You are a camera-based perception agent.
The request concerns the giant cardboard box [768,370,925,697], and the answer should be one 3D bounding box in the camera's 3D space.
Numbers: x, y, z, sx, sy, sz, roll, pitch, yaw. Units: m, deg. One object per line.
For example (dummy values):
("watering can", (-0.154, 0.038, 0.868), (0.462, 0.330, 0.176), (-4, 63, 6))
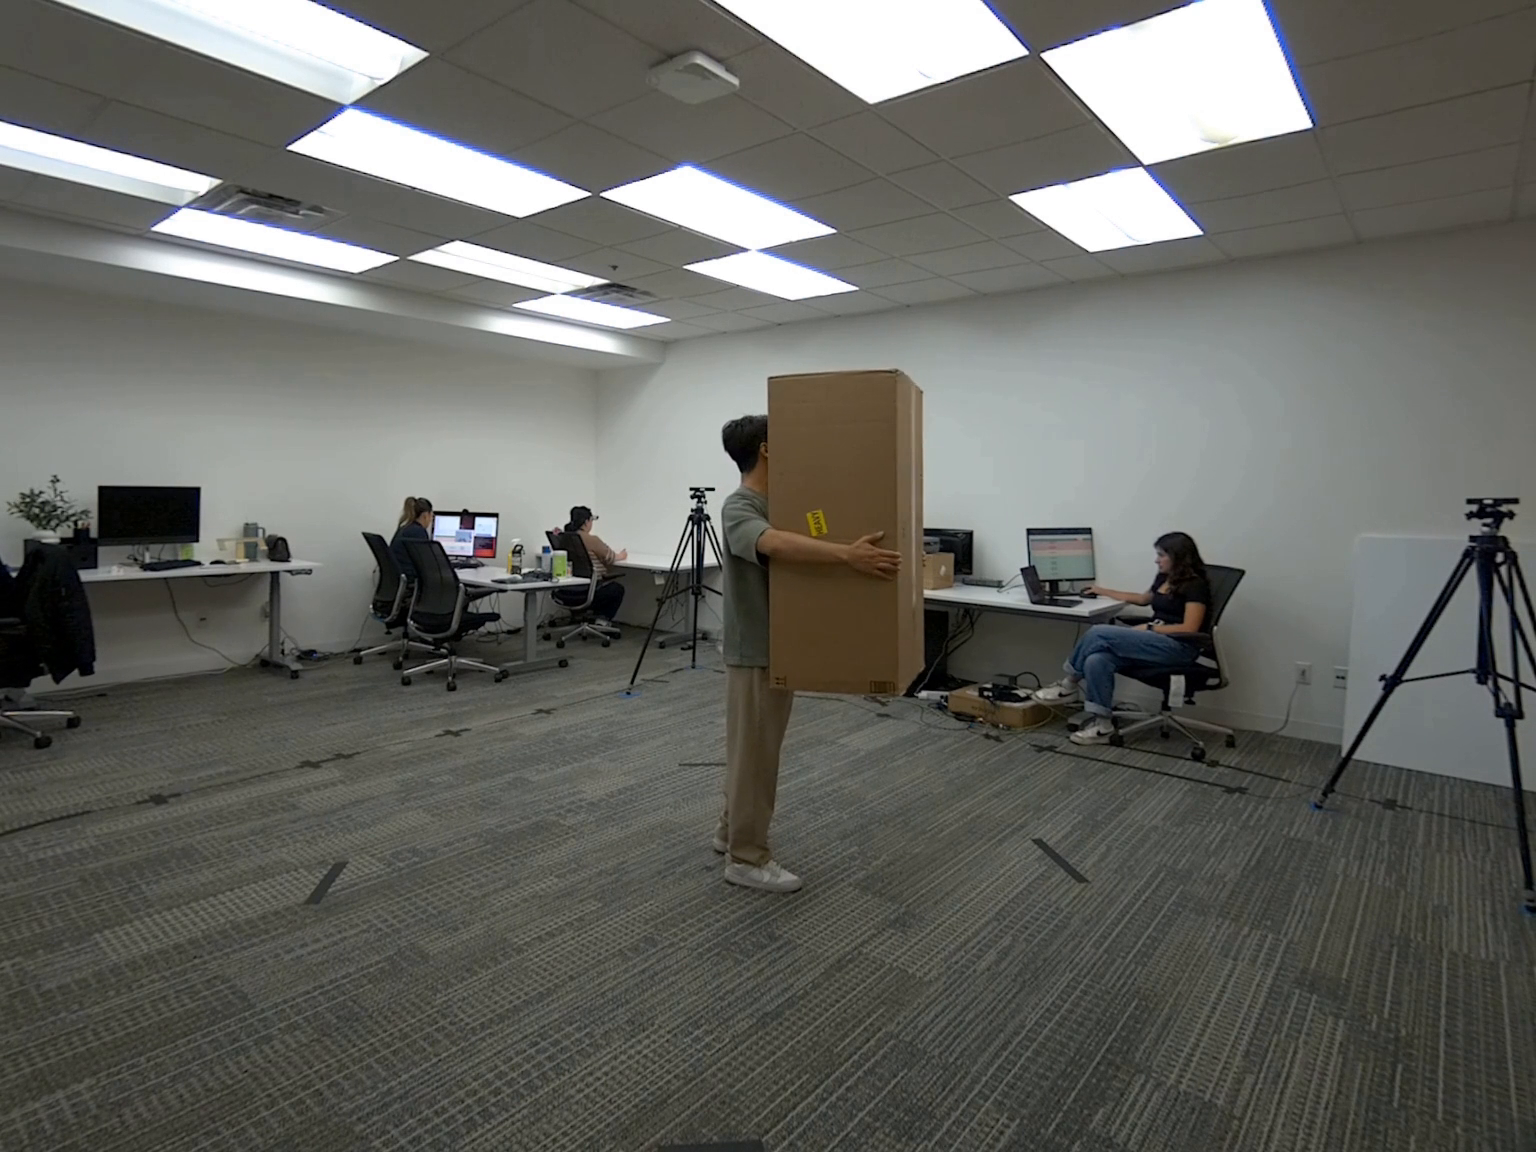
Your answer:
("giant cardboard box", (0.281, -0.161, 2.962), (0.435, 1.024, 0.567), (0, 2, 19))
